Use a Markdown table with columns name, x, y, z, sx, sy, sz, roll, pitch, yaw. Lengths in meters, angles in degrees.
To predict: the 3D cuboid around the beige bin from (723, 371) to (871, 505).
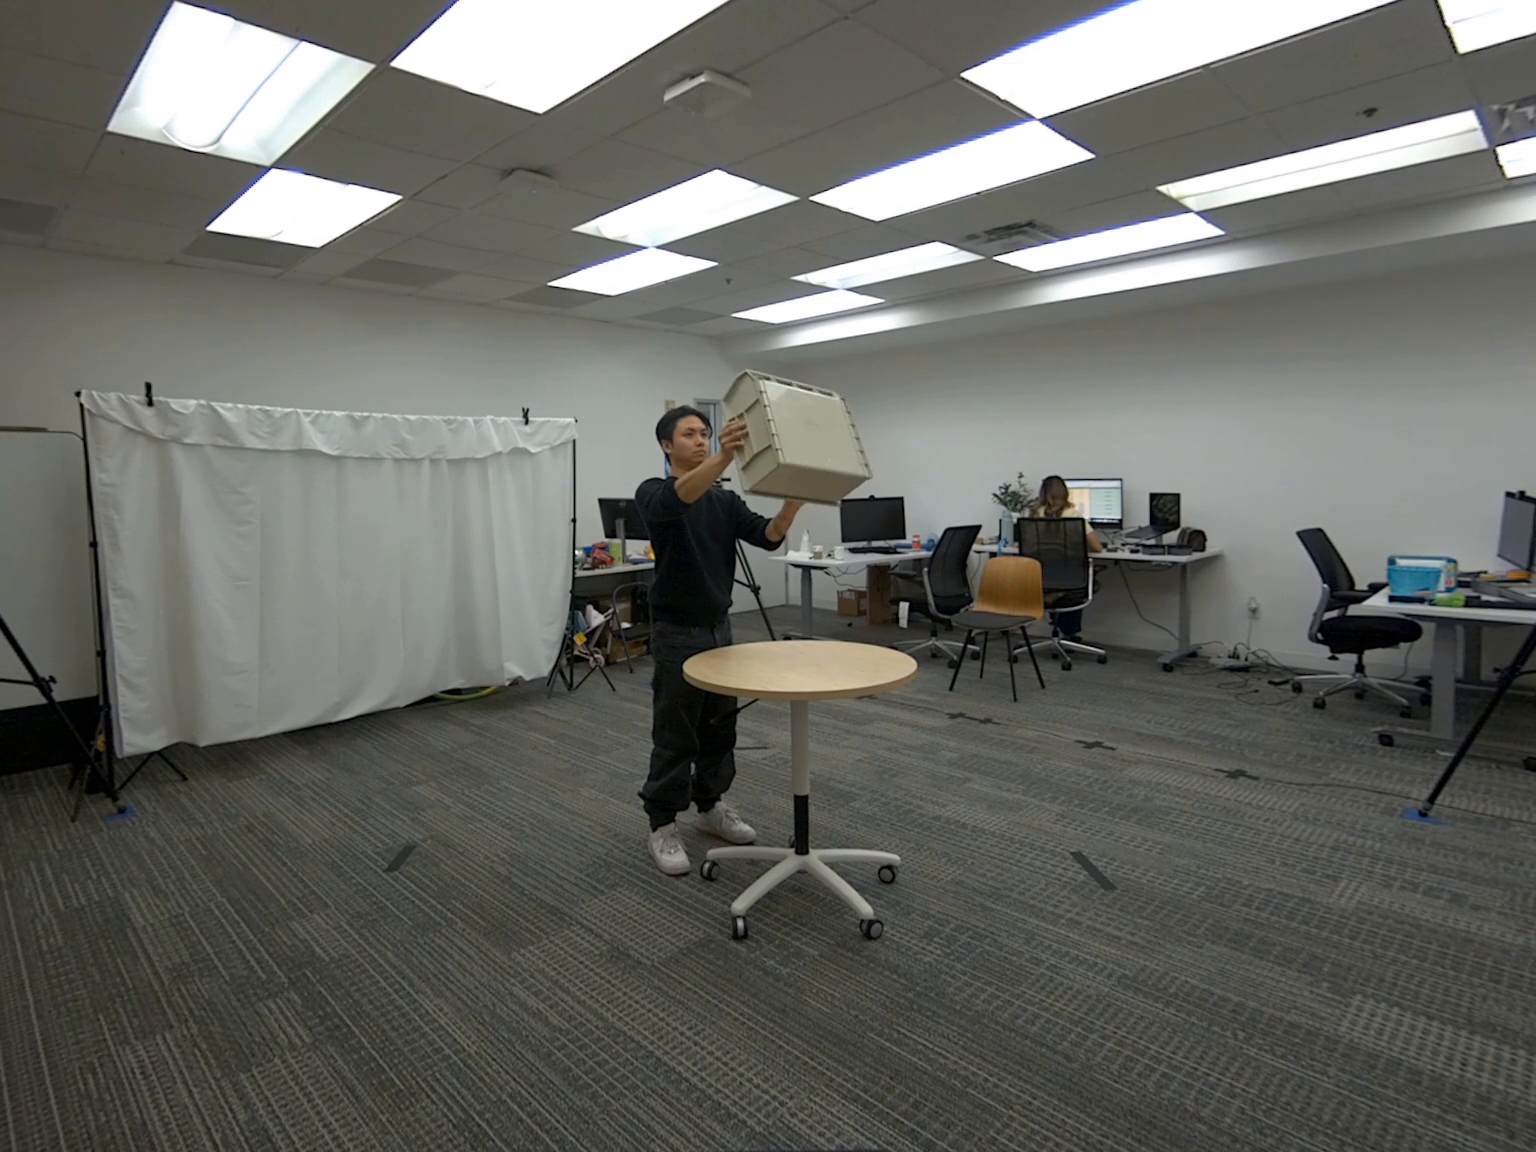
| name | x | y | z | sx | sy | sz | roll | pitch | yaw |
| --- | --- | --- | --- | --- | --- | --- | --- | --- | --- |
| beige bin | 0.091 | -0.450 | 2.798 | 0.409 | 0.386 | 0.190 | 5 | -30 | -39 |
